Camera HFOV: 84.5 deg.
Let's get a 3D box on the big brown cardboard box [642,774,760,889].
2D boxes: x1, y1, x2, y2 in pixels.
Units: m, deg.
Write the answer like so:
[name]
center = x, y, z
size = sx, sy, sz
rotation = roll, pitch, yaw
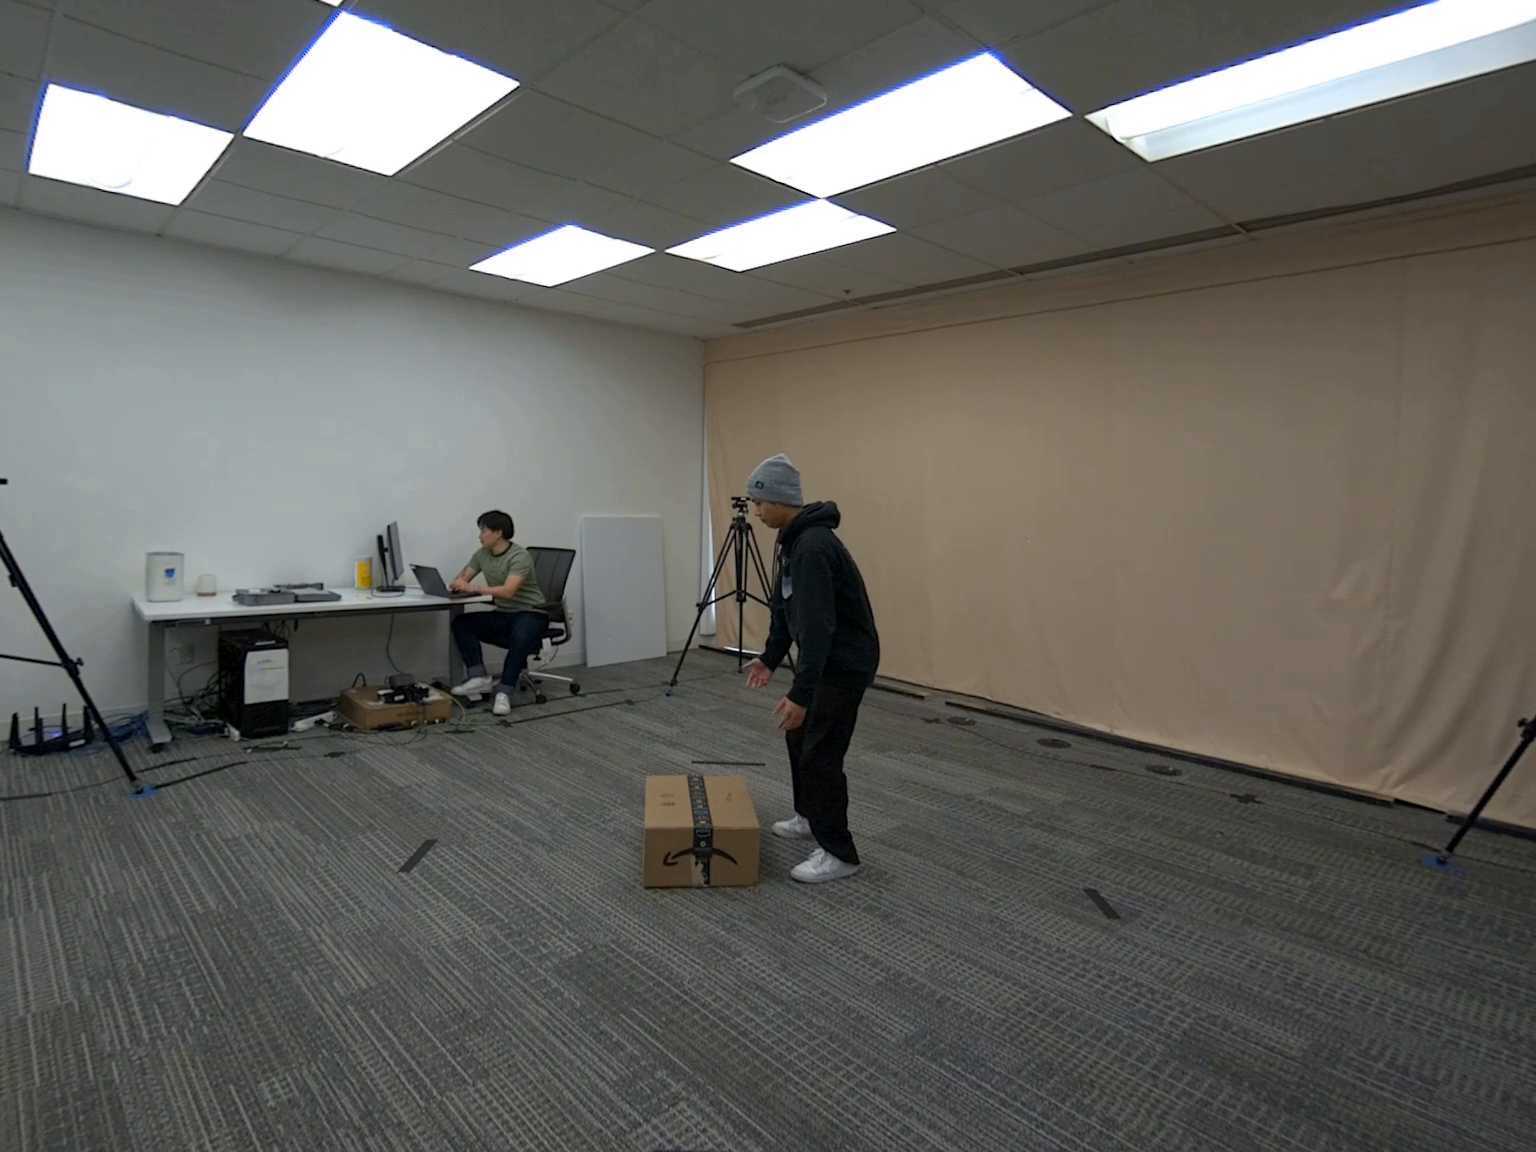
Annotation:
[big brown cardboard box]
center = -0.279, 0.975, 3.276
size = 0.415, 0.232, 0.593
rotation = 2, 4, -7
